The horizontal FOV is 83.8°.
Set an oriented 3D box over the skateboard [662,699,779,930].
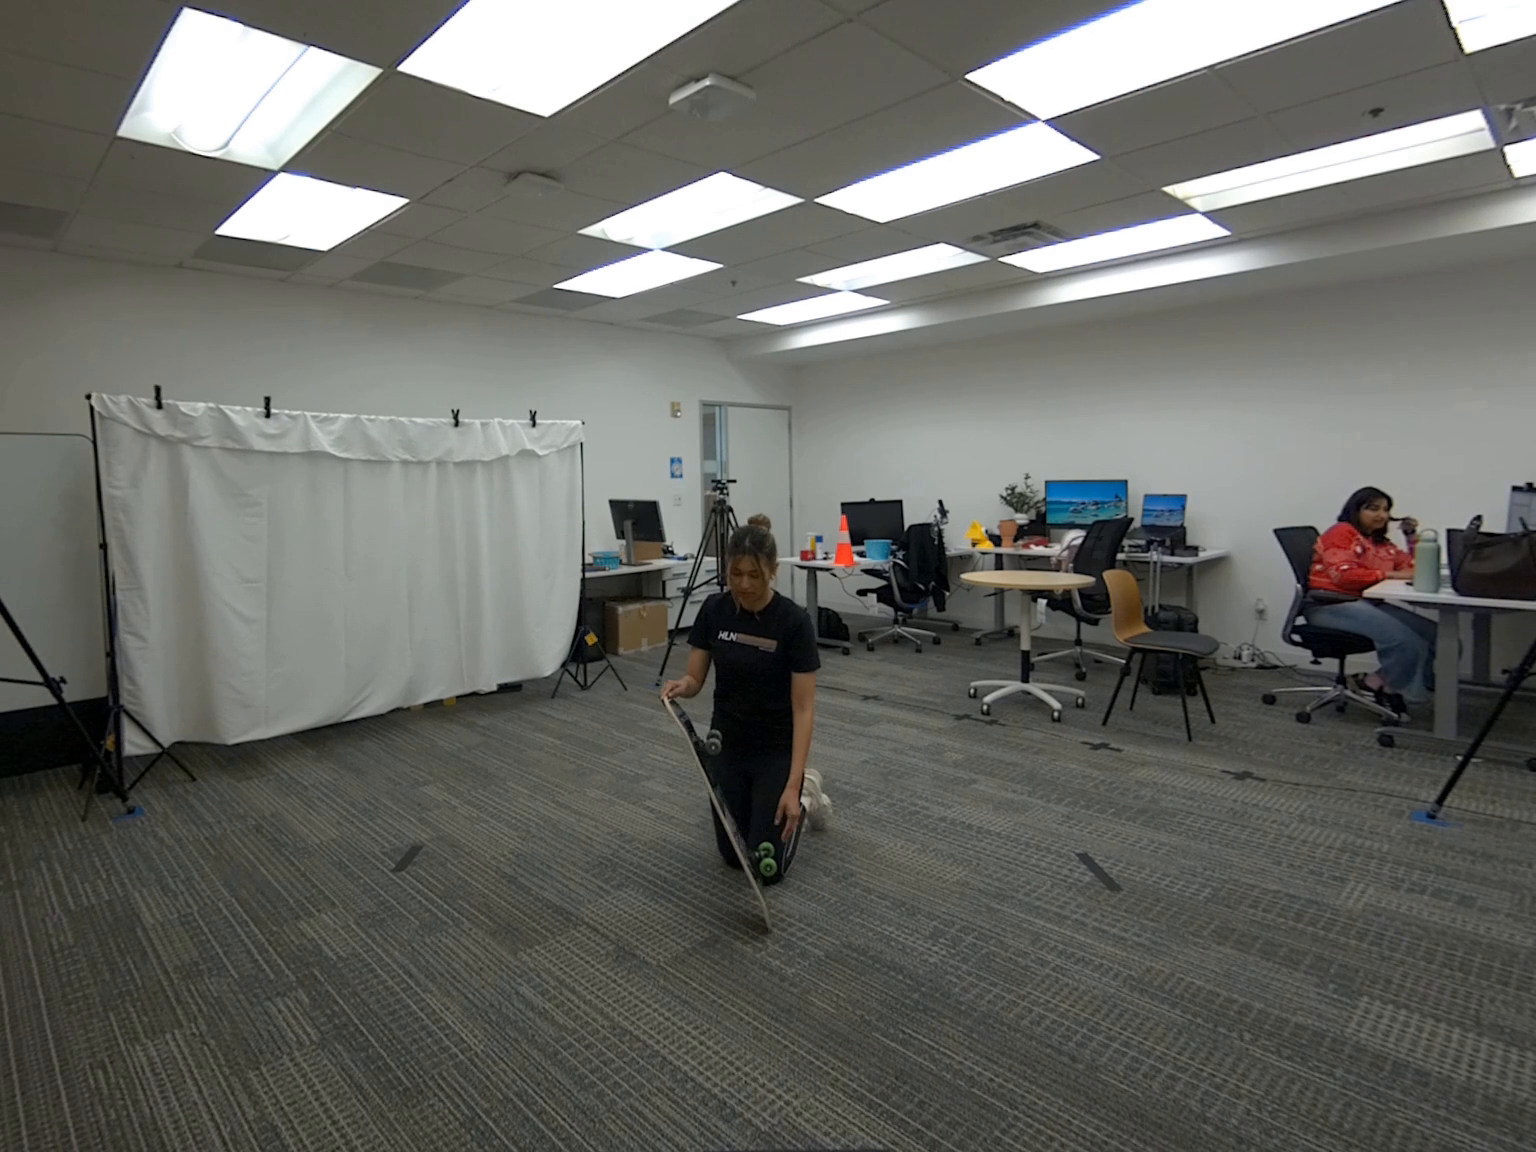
[{"bbox_3d":[-0.120,0.722,2.682,0.110,0.788,0.193,-25,-3,0],"label":"skateboard"}]
